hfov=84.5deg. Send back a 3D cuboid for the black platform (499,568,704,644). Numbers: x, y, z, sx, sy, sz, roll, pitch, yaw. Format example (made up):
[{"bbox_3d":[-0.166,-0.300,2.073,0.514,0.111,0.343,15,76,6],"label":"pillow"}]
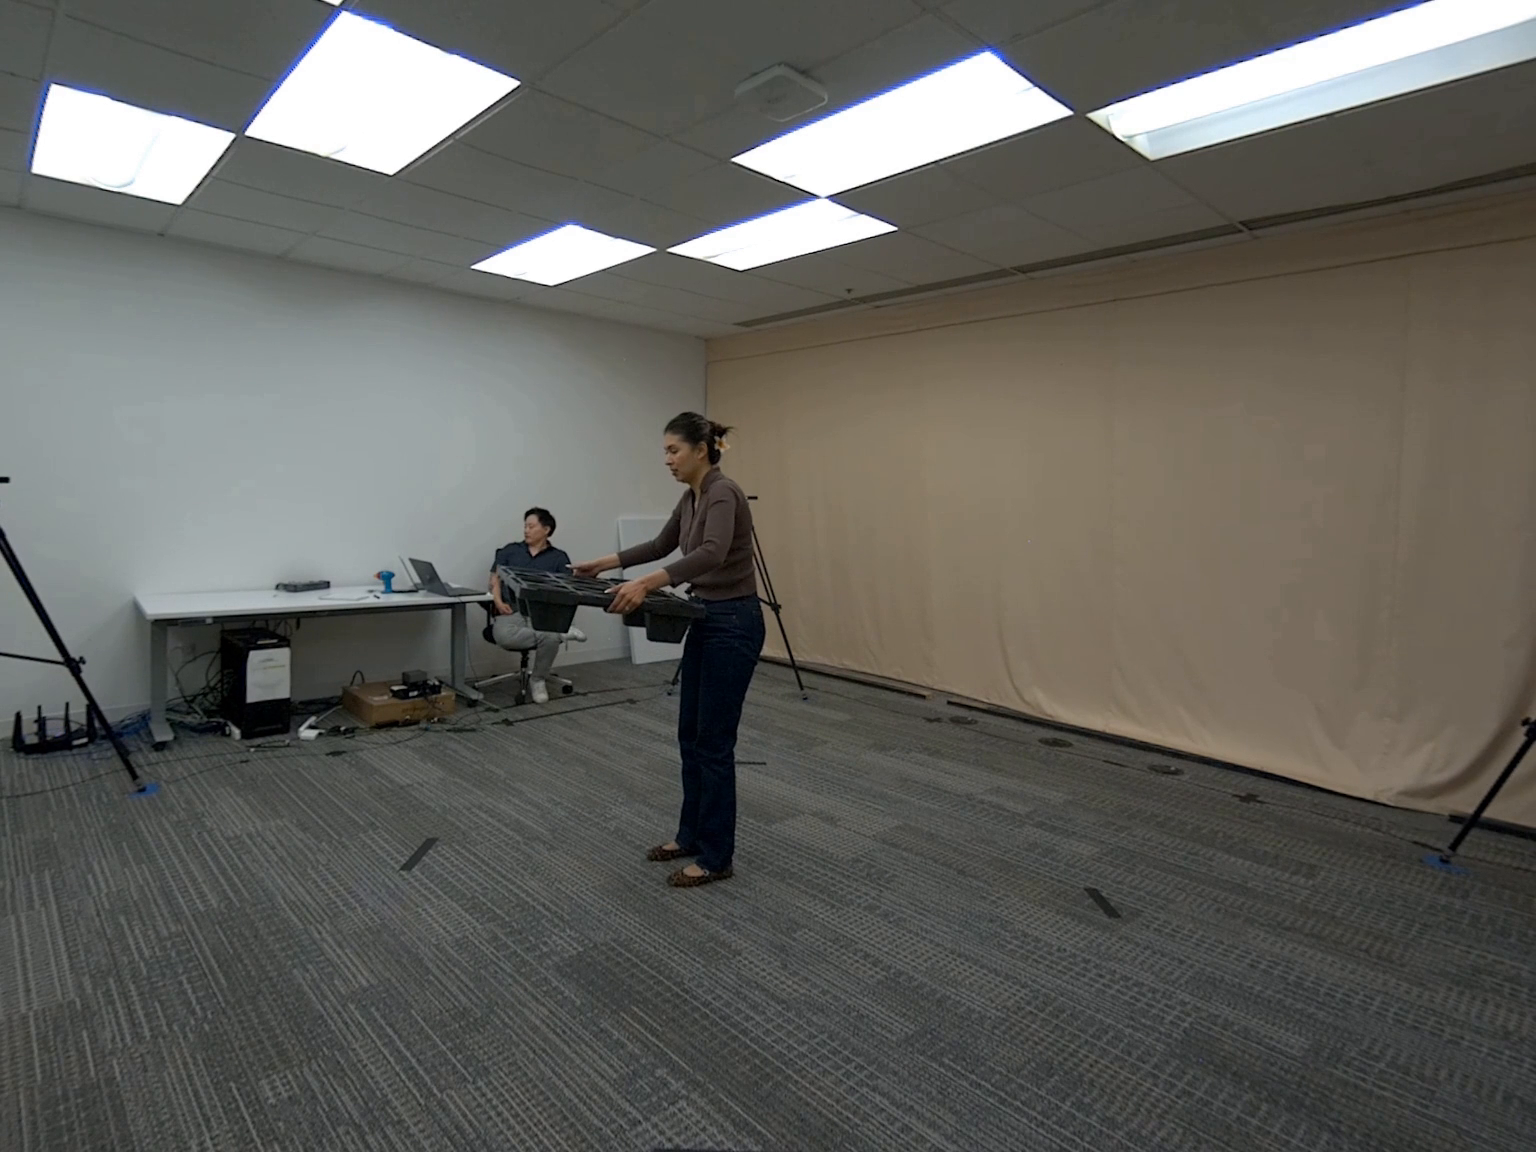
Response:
[{"bbox_3d":[-0.636,0.094,2.984,0.595,0.143,0.820,7,3,-21],"label":"black platform"}]
